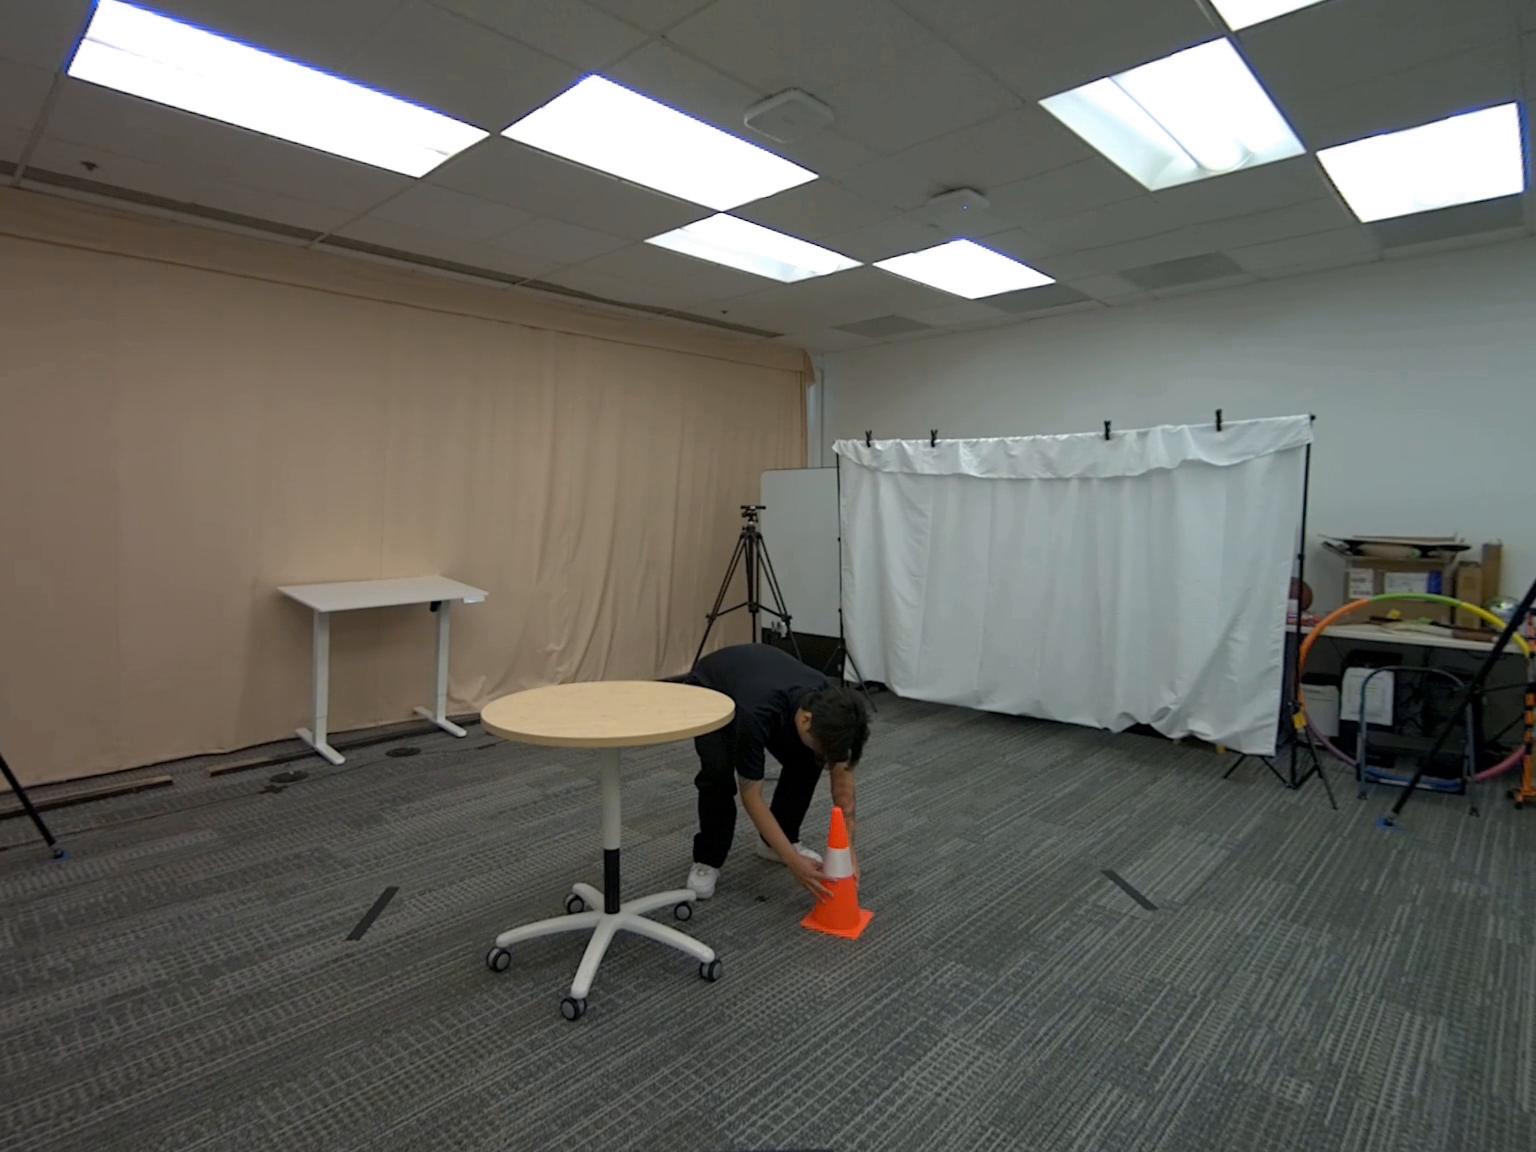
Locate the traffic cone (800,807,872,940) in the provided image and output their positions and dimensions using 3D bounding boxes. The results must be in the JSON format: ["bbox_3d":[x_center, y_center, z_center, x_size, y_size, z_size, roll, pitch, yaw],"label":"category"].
[{"bbox_3d":[0.224,0.973,2.833,0.210,0.383,0.199,-1,2,24],"label":"traffic cone"}]
